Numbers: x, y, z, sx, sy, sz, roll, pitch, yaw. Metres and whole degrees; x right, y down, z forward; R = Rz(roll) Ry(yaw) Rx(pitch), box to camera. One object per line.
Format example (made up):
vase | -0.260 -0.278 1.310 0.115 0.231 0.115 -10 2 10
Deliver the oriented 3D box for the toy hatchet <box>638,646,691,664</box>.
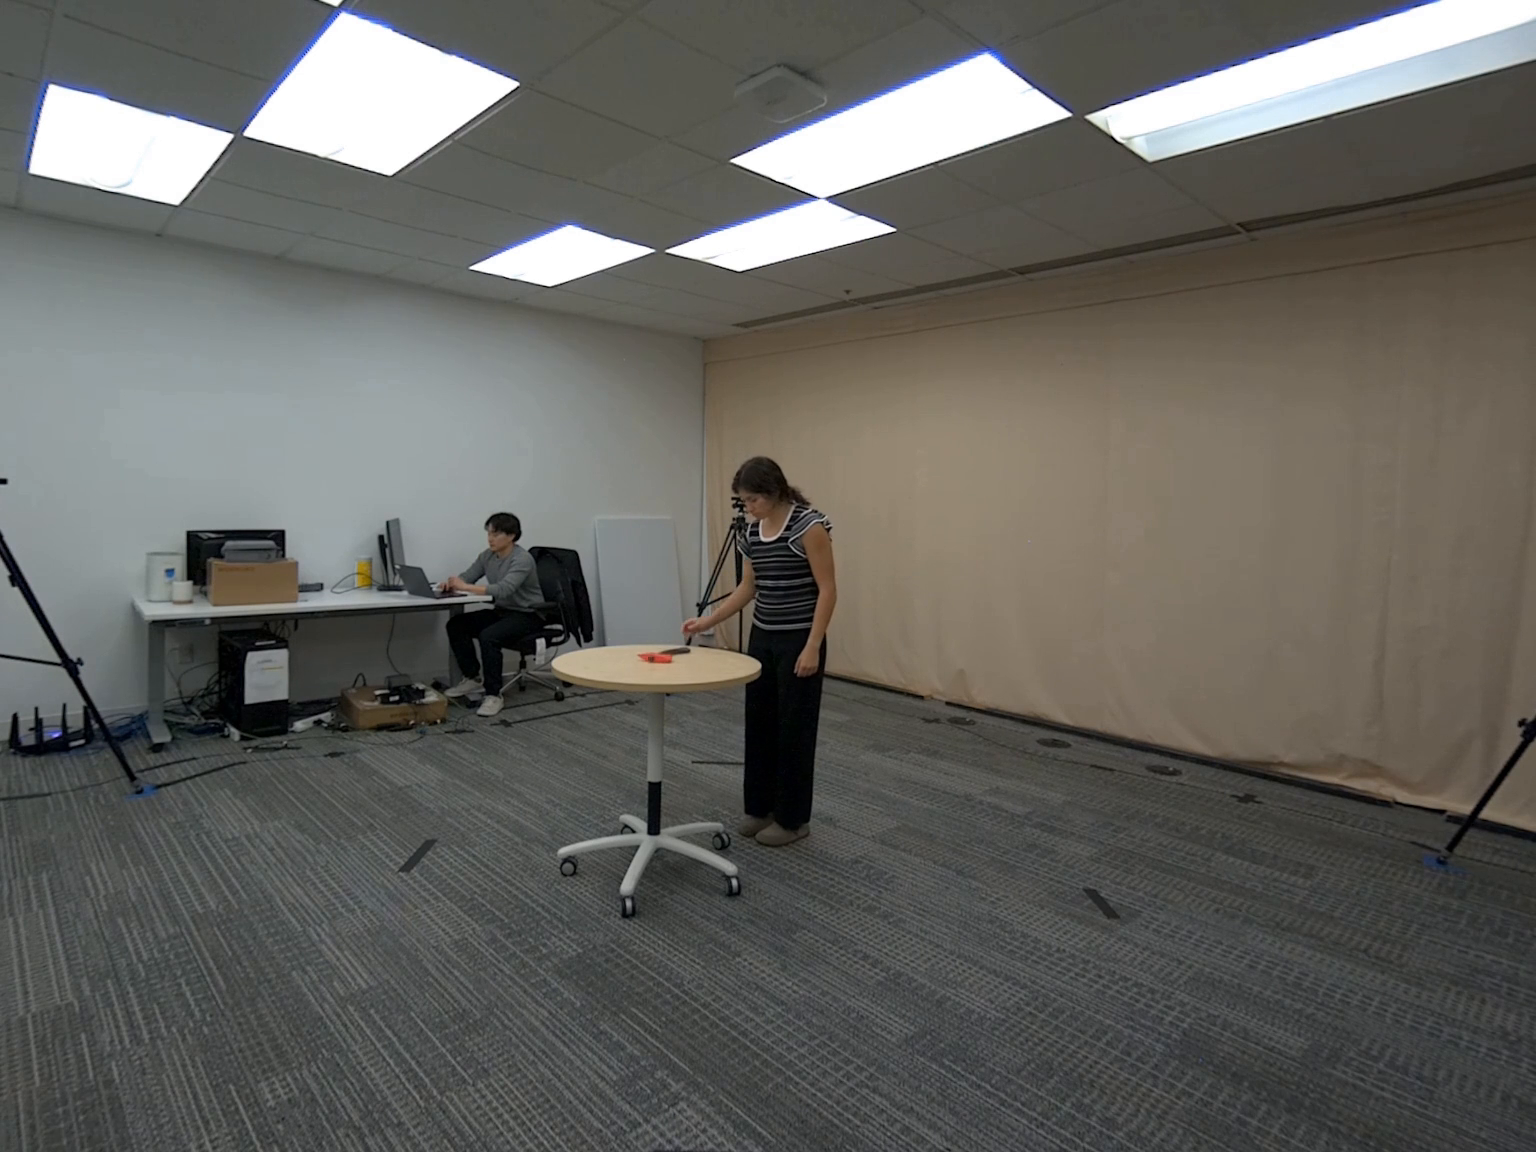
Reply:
toy hatchet | -0.379 0.300 3.197 0.134 0.029 0.264 6 5 36
